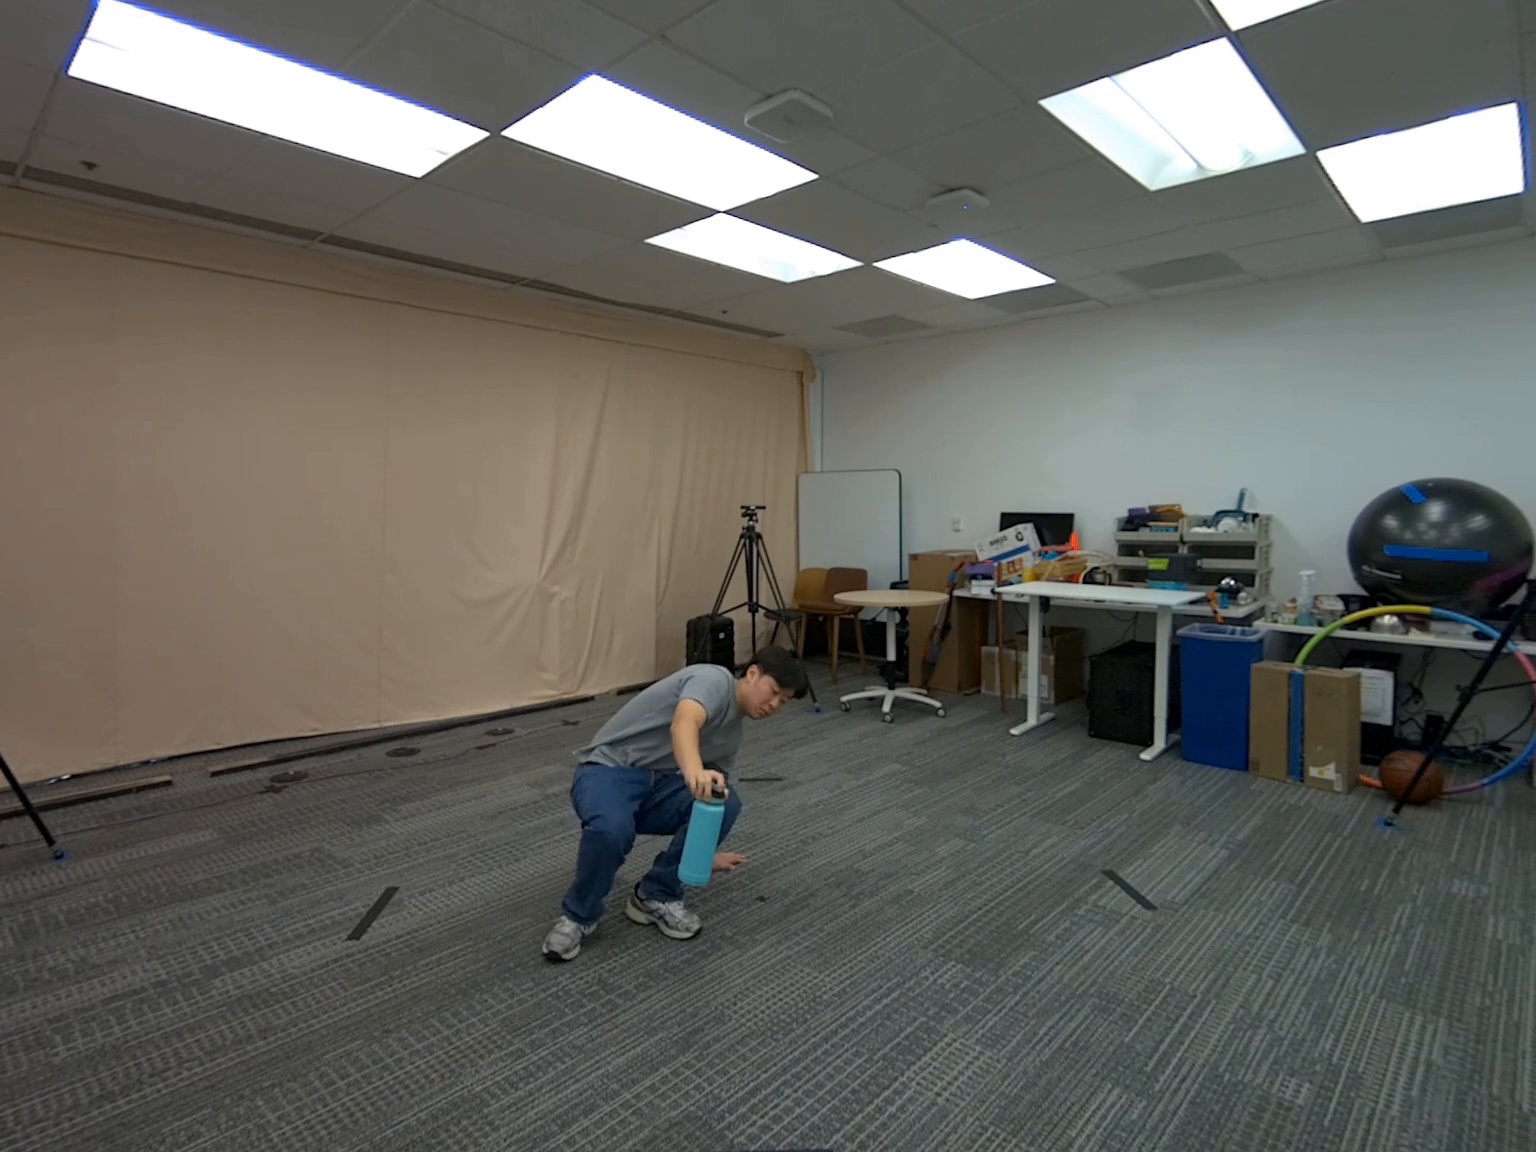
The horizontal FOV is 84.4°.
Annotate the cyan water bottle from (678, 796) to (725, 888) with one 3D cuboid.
[{"bbox_3d":[-0.179,0.722,2.368,0.092,0.283,0.092,9,2,-2],"label":"cyan water bottle"}]
